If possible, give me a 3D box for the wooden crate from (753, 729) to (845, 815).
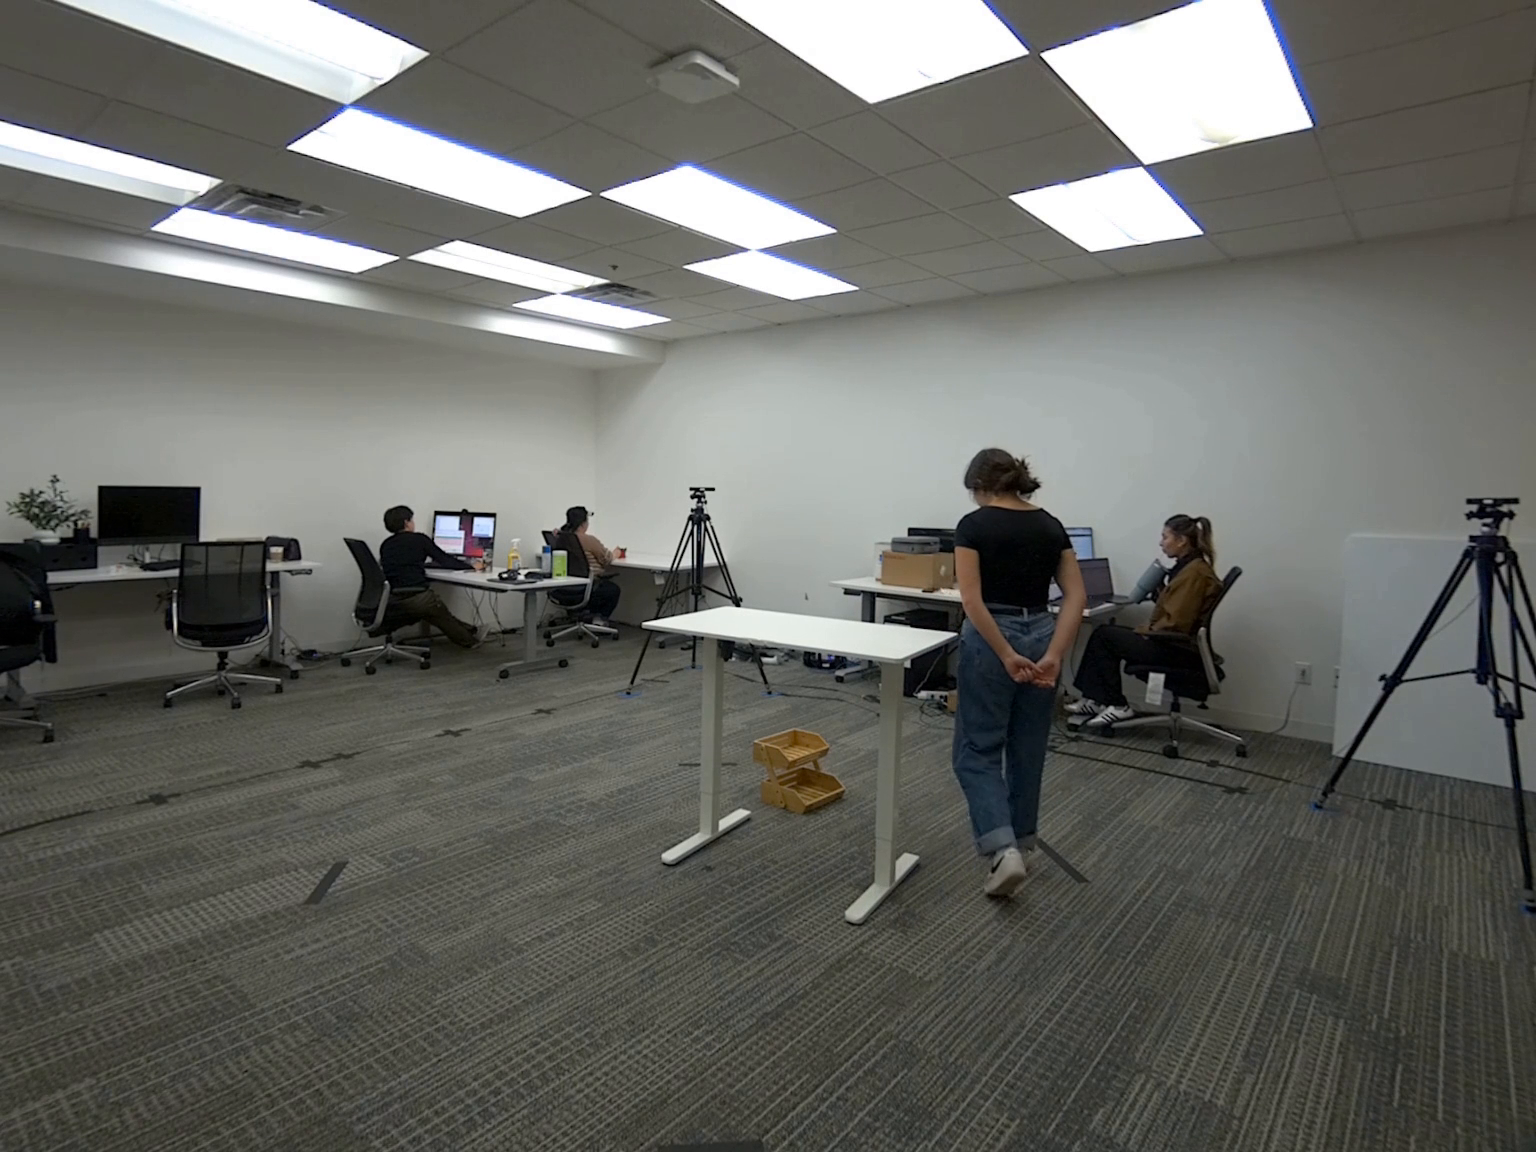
[{"bbox_3d":[0.136,0.868,3.841,0.312,0.272,0.315,4,5,41],"label":"wooden crate"}]
